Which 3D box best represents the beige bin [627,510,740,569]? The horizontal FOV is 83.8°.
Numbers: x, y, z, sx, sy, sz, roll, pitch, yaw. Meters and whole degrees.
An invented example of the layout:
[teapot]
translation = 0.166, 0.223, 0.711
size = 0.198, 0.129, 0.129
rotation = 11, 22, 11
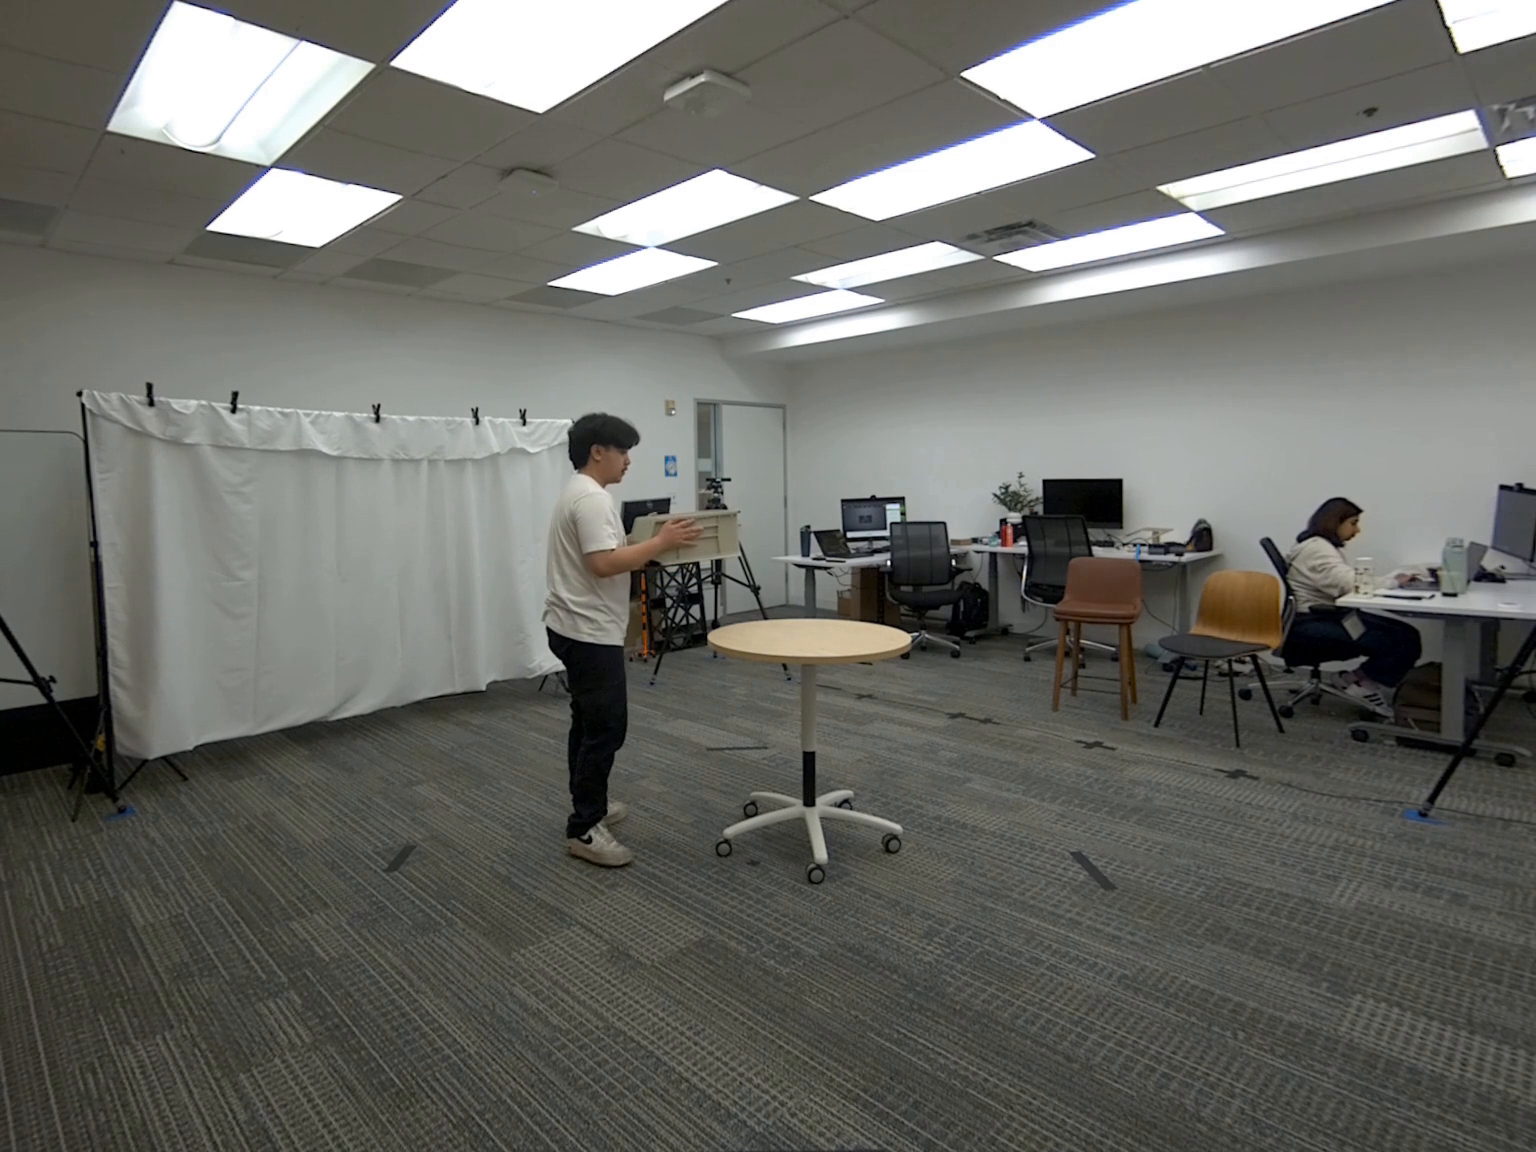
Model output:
[beige bin]
translation = -0.341, -0.153, 3.457
size = 0.372, 0.188, 0.430
rotation = -6, 5, -17
